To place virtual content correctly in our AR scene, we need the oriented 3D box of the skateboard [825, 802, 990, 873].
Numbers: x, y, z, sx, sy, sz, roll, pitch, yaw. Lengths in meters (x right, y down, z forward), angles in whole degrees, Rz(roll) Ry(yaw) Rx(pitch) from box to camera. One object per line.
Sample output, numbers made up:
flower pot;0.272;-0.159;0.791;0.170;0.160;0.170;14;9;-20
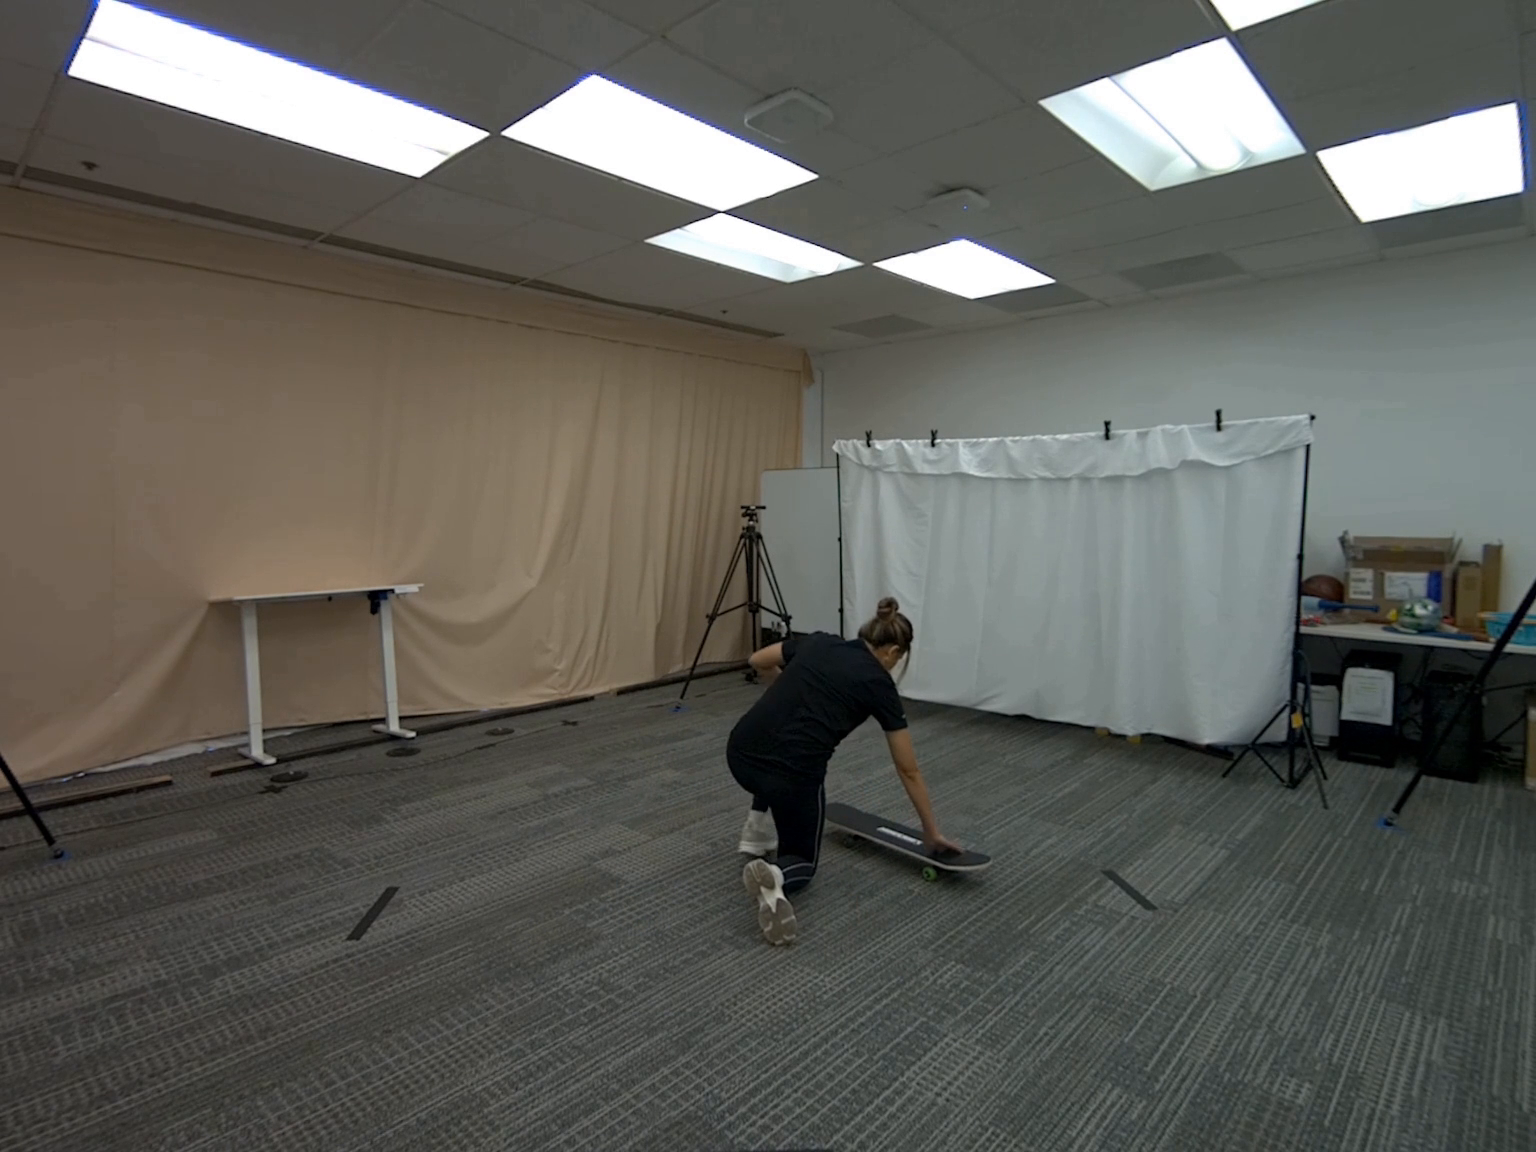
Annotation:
skateboard;0.519;1.055;3.326;0.187;0.110;0.812;-4;7;-41
